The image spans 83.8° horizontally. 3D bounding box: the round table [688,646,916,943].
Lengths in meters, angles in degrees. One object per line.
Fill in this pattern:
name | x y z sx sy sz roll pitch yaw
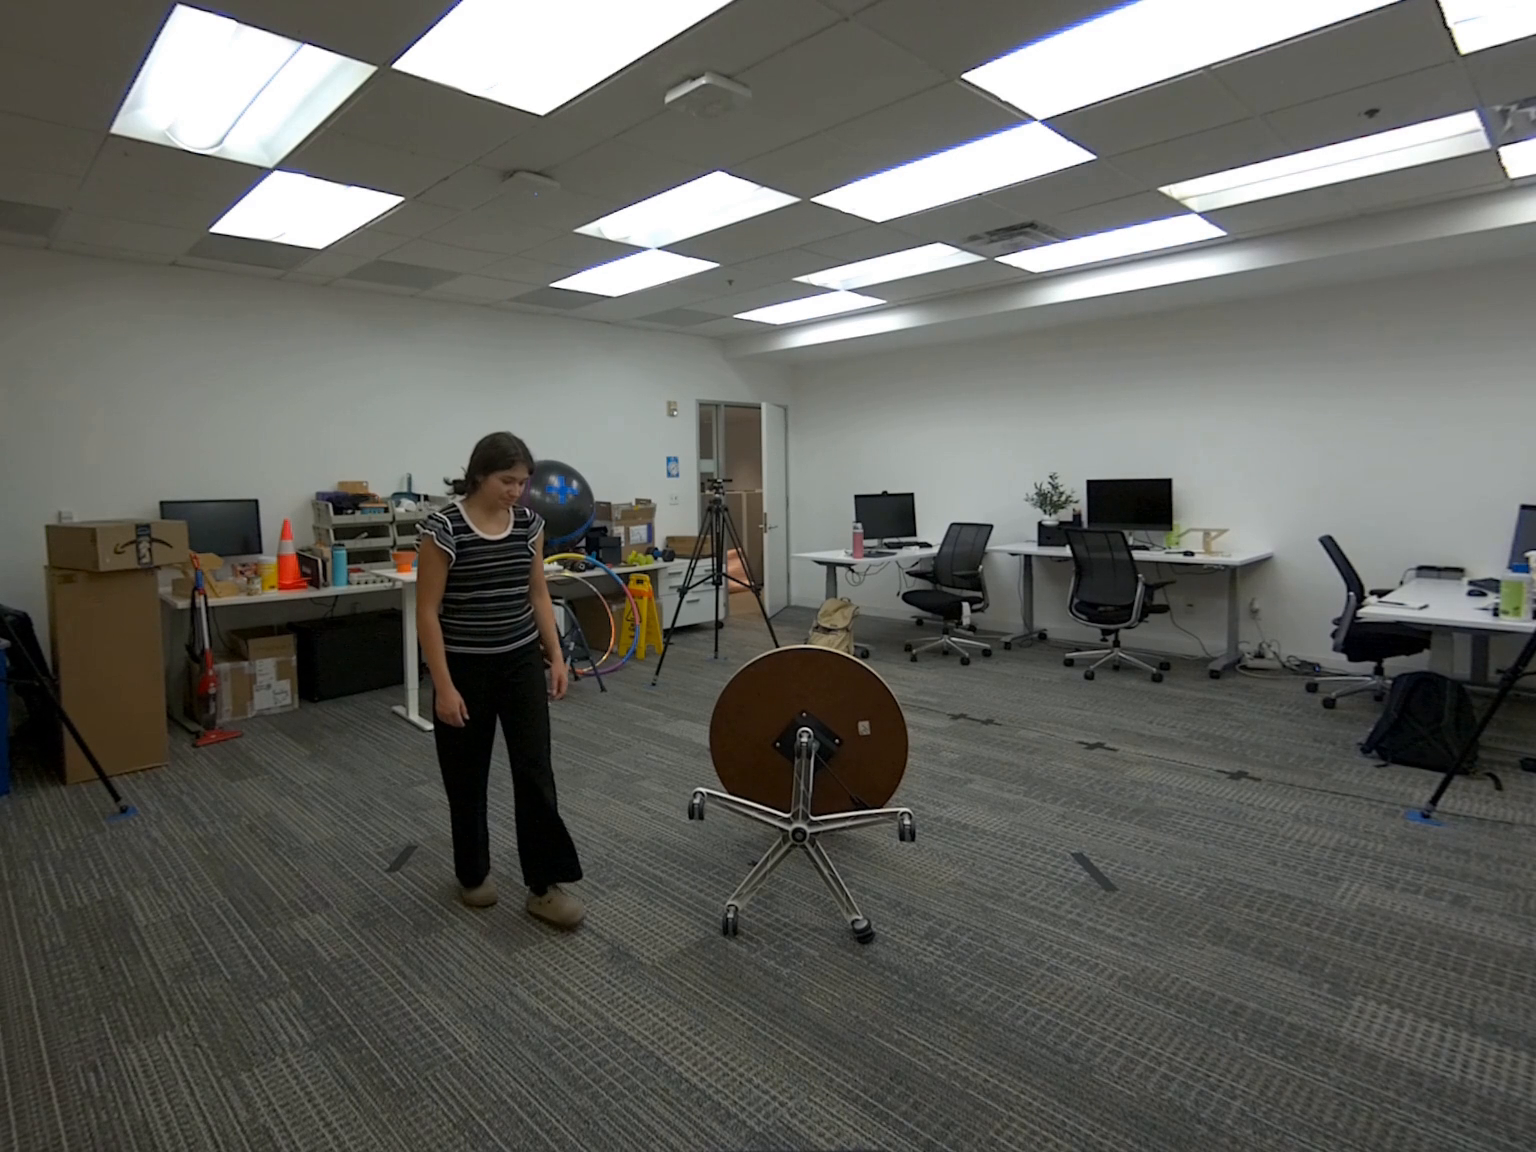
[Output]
round table | 0.128 0.725 2.919 0.791 0.777 0.789 0 11 7
